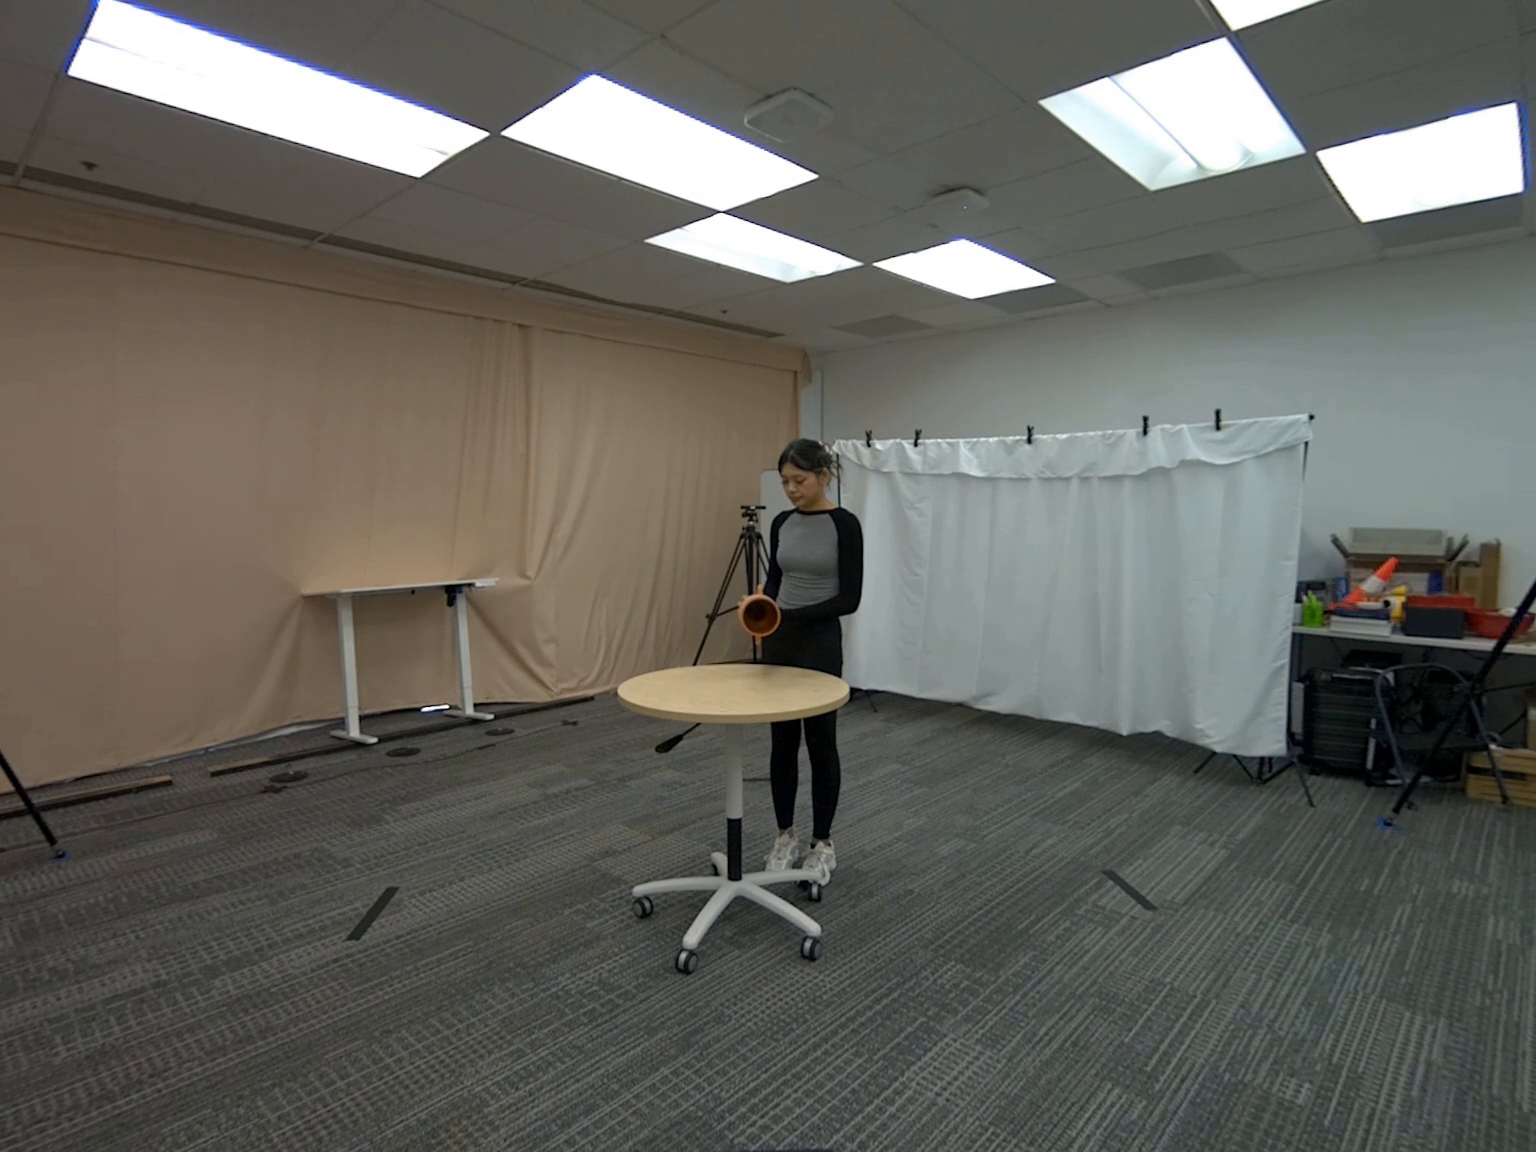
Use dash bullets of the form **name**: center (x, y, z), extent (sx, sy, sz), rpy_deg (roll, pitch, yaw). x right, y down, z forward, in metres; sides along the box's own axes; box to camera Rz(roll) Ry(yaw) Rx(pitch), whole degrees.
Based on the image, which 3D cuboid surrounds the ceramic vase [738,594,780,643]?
- **ceramic vase**: center (-0.042, 0.124, 2.897), extent (0.134, 0.159, 0.220), rpy_deg (44, 0, -3)
